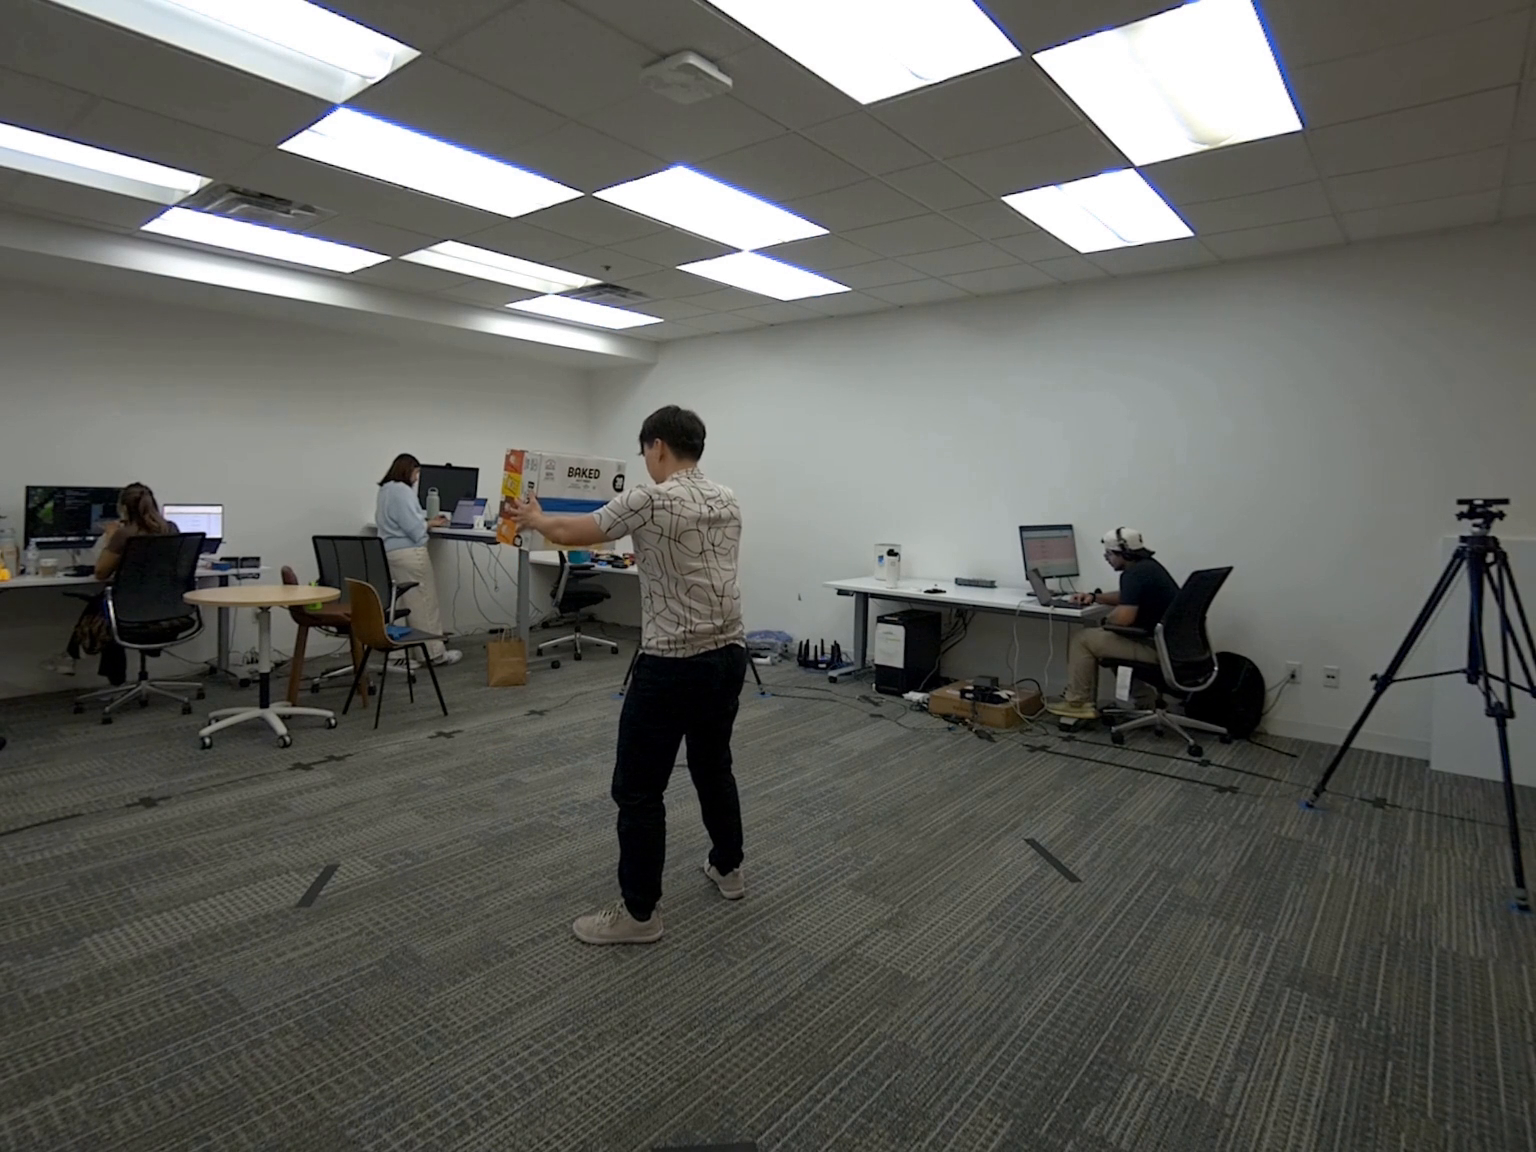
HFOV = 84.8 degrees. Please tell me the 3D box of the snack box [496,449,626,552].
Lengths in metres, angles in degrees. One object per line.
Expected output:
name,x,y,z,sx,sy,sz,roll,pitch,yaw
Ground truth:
snack box,-0.767,-0.277,3.128,0.213,0.338,0.393,15,10,37
